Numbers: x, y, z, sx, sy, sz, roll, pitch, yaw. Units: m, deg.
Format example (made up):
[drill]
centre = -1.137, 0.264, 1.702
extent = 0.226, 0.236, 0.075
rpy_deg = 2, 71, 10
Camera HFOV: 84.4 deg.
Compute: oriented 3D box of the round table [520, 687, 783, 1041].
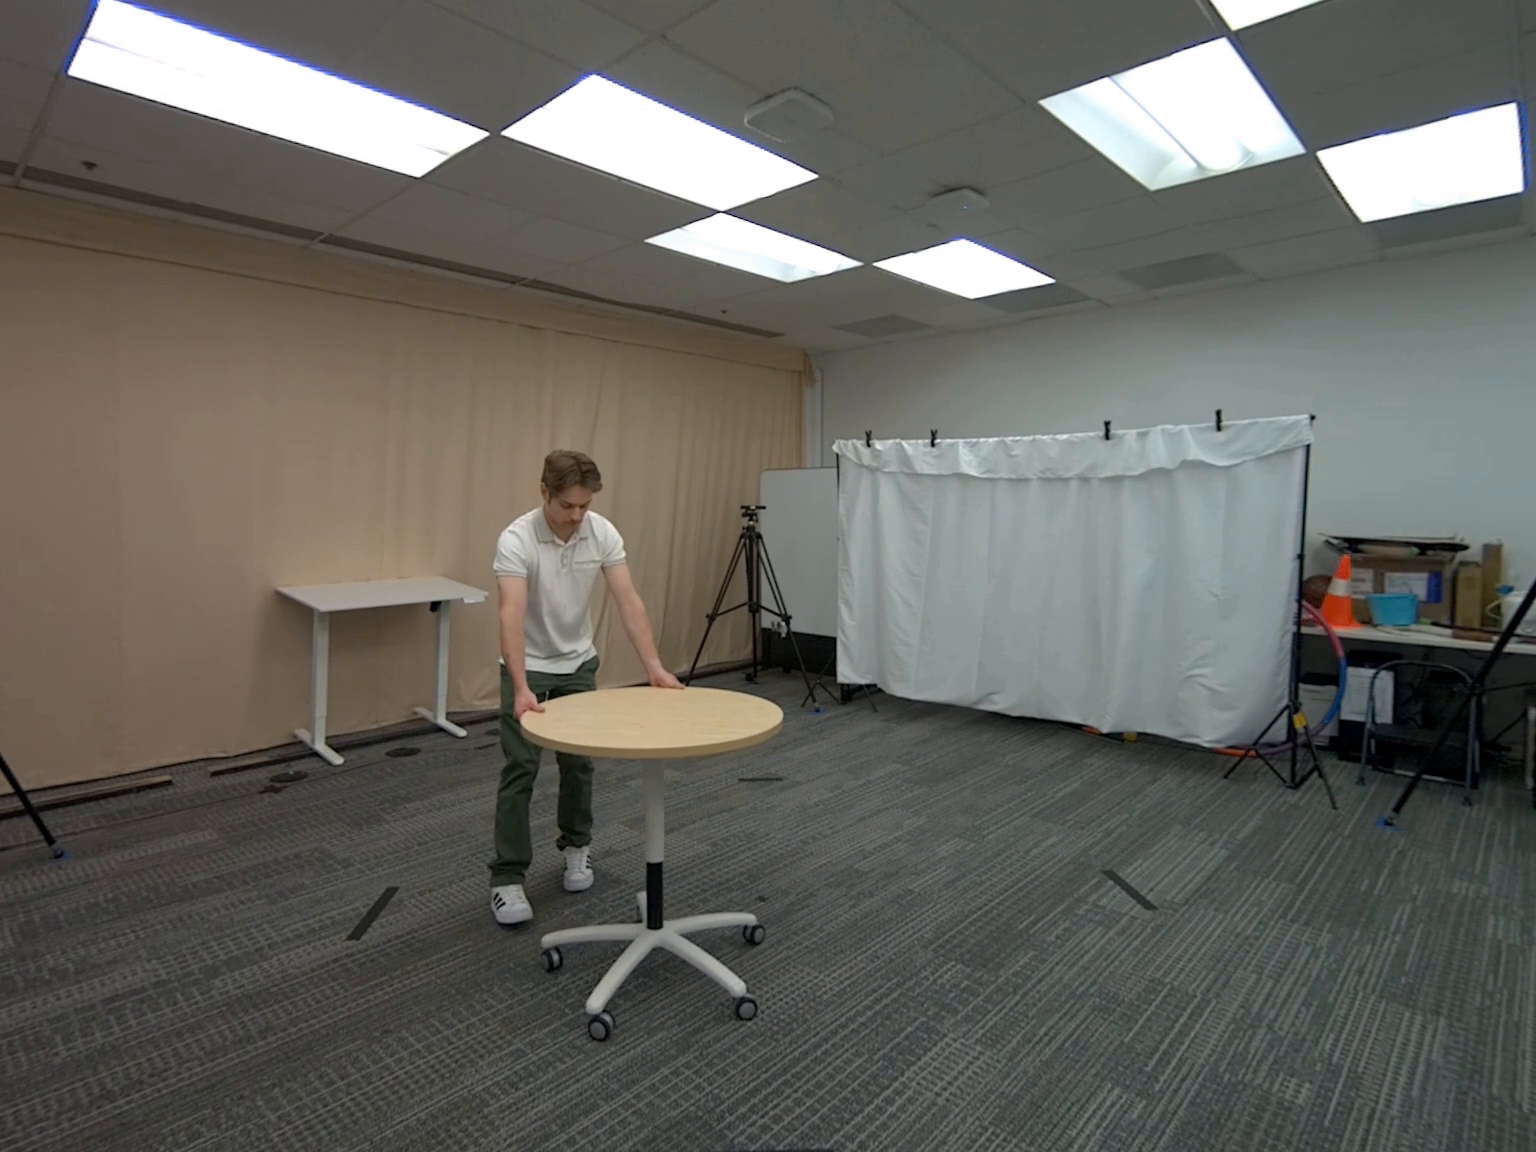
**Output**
[round table]
centre = -0.341, 0.793, 2.506
extent = 0.784, 0.785, 0.787
rpy_deg = 0, 3, -2
